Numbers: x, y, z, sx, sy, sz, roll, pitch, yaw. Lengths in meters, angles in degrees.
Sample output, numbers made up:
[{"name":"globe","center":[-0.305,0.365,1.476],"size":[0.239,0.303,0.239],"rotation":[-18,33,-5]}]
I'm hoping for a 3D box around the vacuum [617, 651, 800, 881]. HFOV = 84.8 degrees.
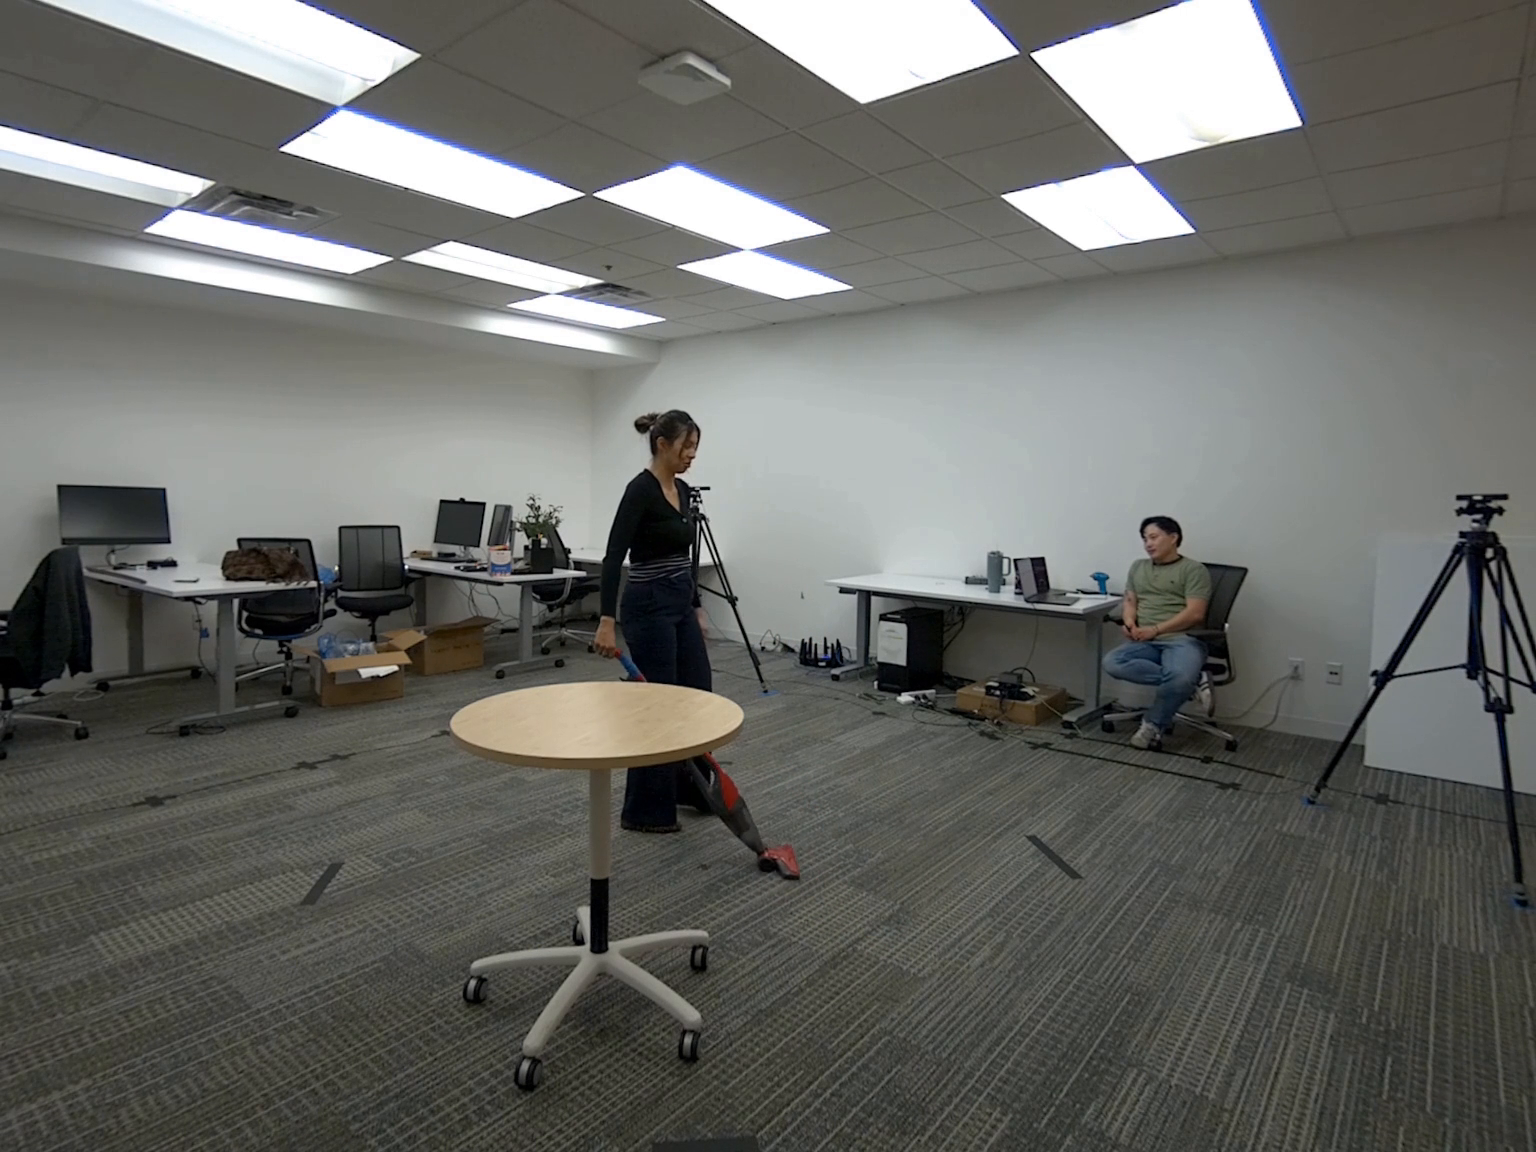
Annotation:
[{"name":"vacuum","center":[-0.286,0.648,3.118],"size":[0.144,1.044,0.253],"rotation":[-38,3,5]}]
